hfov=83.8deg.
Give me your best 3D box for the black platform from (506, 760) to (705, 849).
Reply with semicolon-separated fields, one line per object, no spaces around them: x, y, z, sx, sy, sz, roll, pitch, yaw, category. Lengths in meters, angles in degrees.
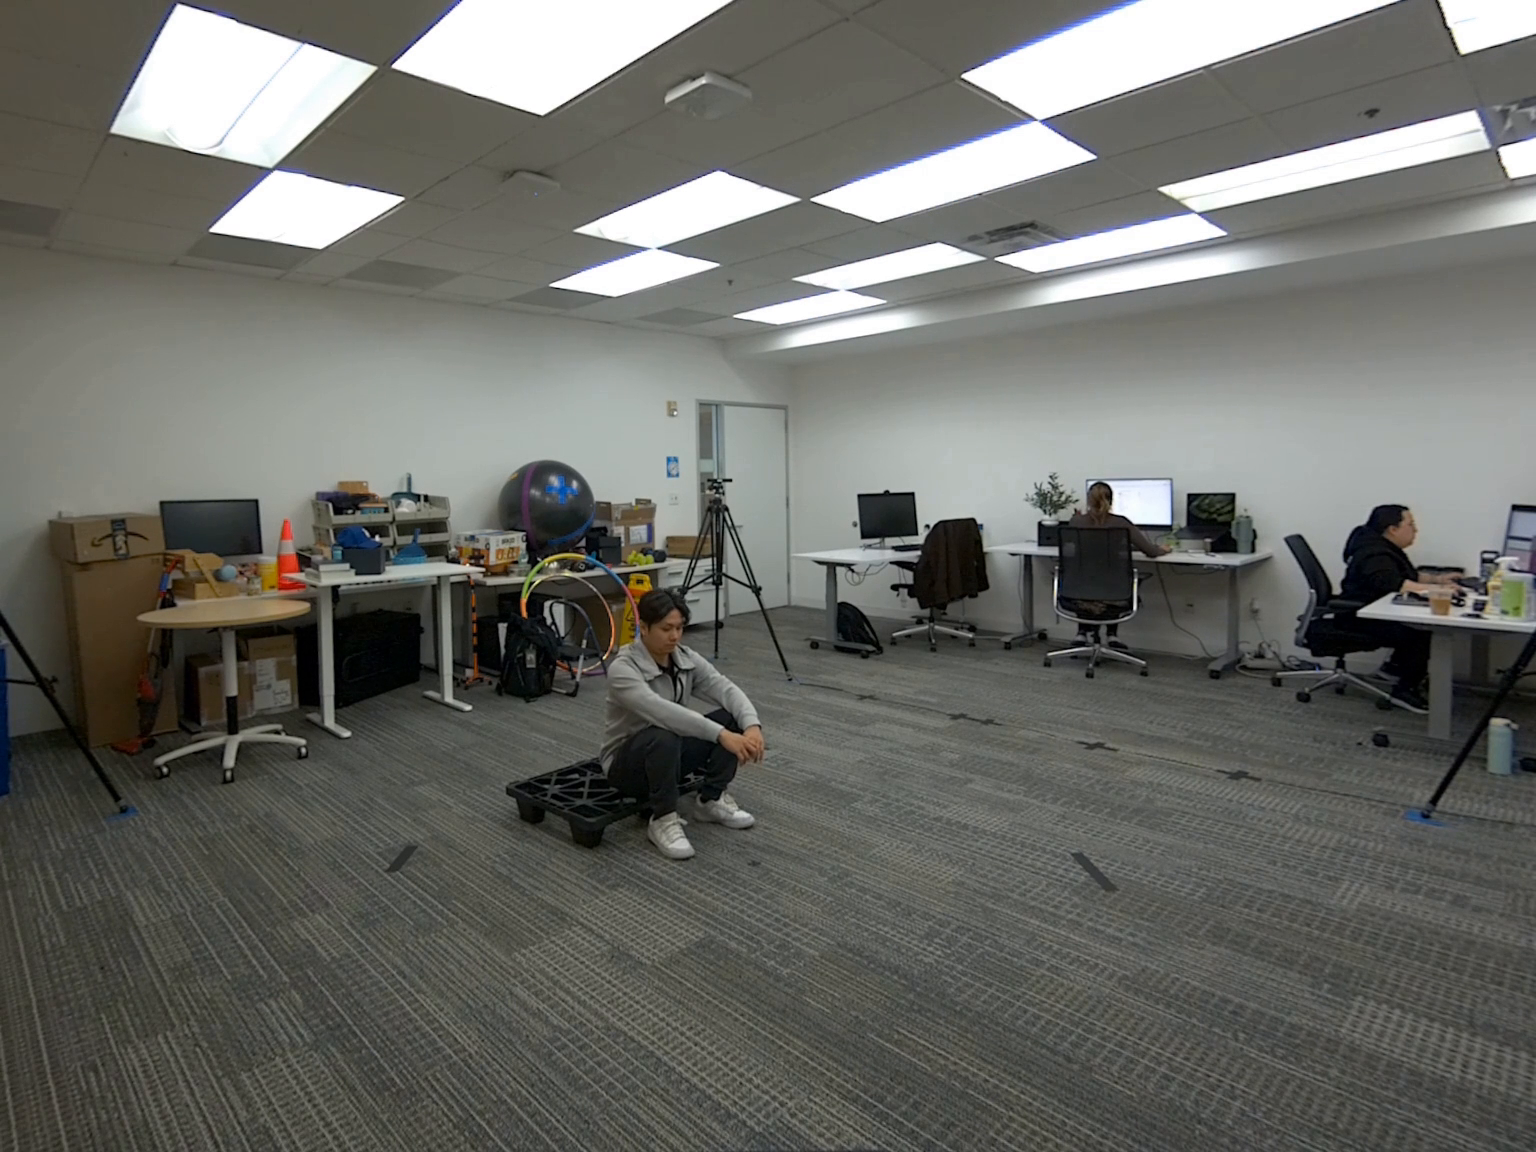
-0.615;0.926;3.671;0.624;0.142;0.785;5;9;41;black platform
